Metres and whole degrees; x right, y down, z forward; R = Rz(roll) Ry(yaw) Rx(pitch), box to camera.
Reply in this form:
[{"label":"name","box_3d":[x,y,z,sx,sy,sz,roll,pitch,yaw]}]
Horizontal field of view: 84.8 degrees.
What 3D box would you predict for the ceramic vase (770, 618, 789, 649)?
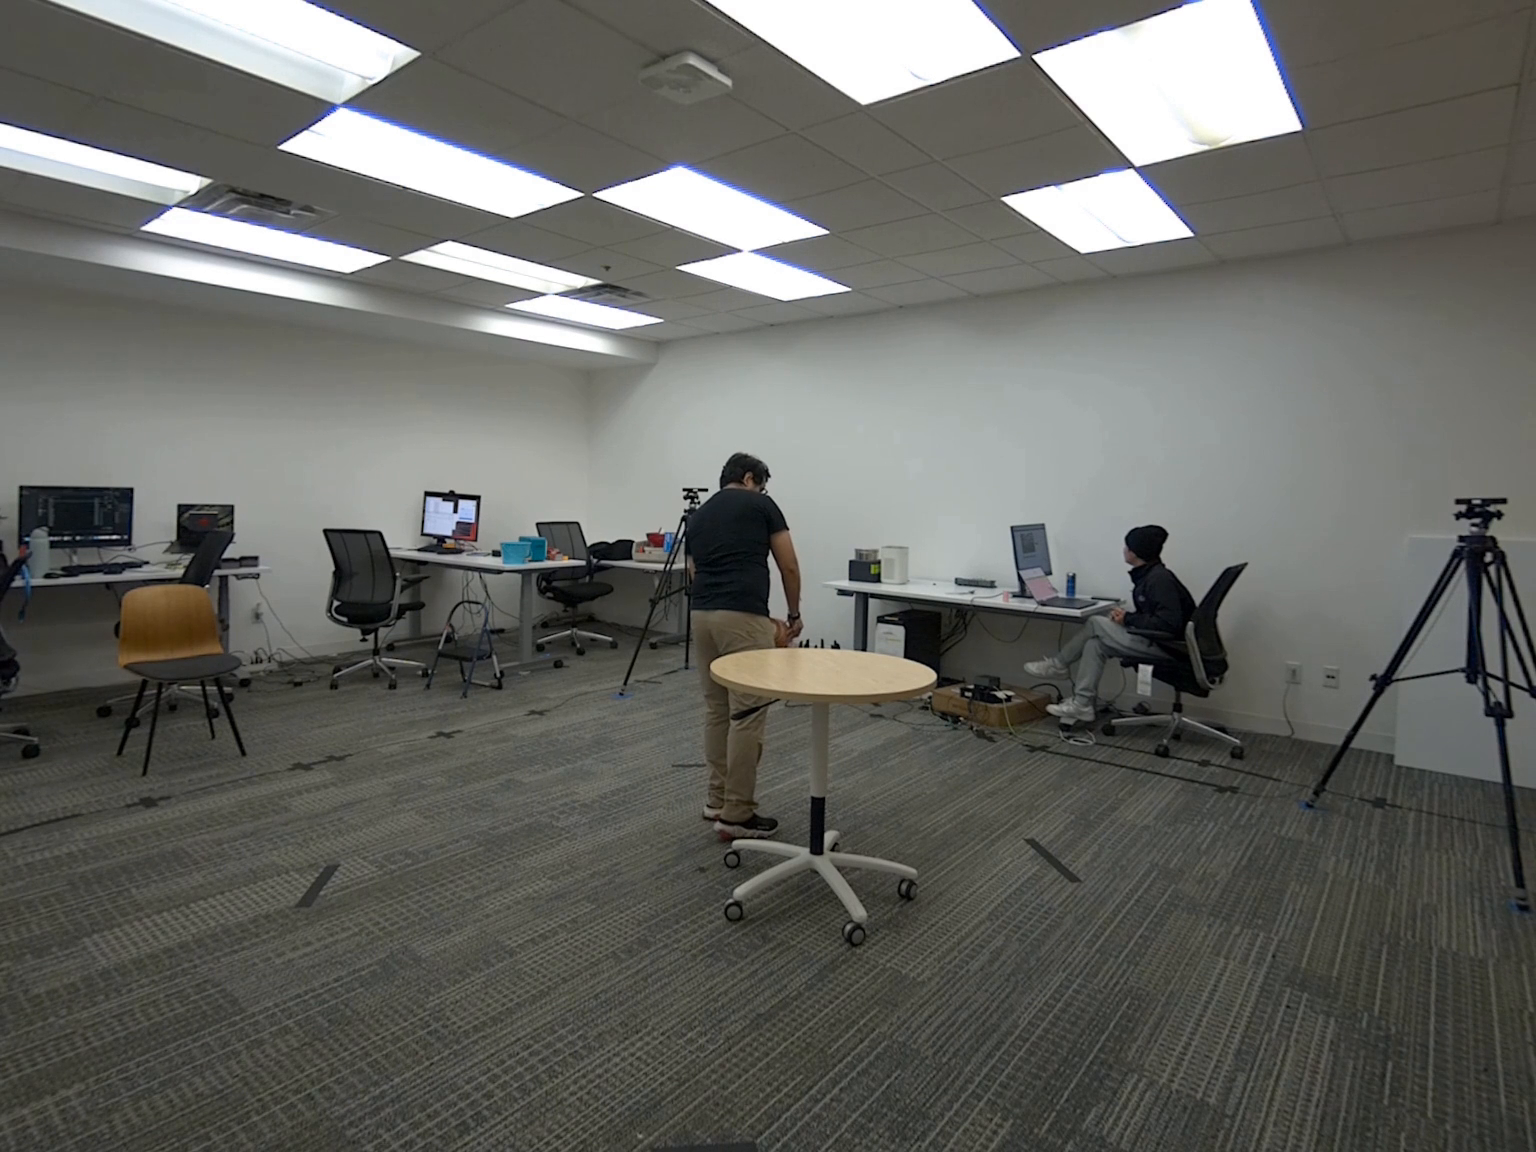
[{"label":"ceramic vase","box_3d":[0.017,0.248,3.800,0.138,0.159,0.215,37,-4,14]}]
